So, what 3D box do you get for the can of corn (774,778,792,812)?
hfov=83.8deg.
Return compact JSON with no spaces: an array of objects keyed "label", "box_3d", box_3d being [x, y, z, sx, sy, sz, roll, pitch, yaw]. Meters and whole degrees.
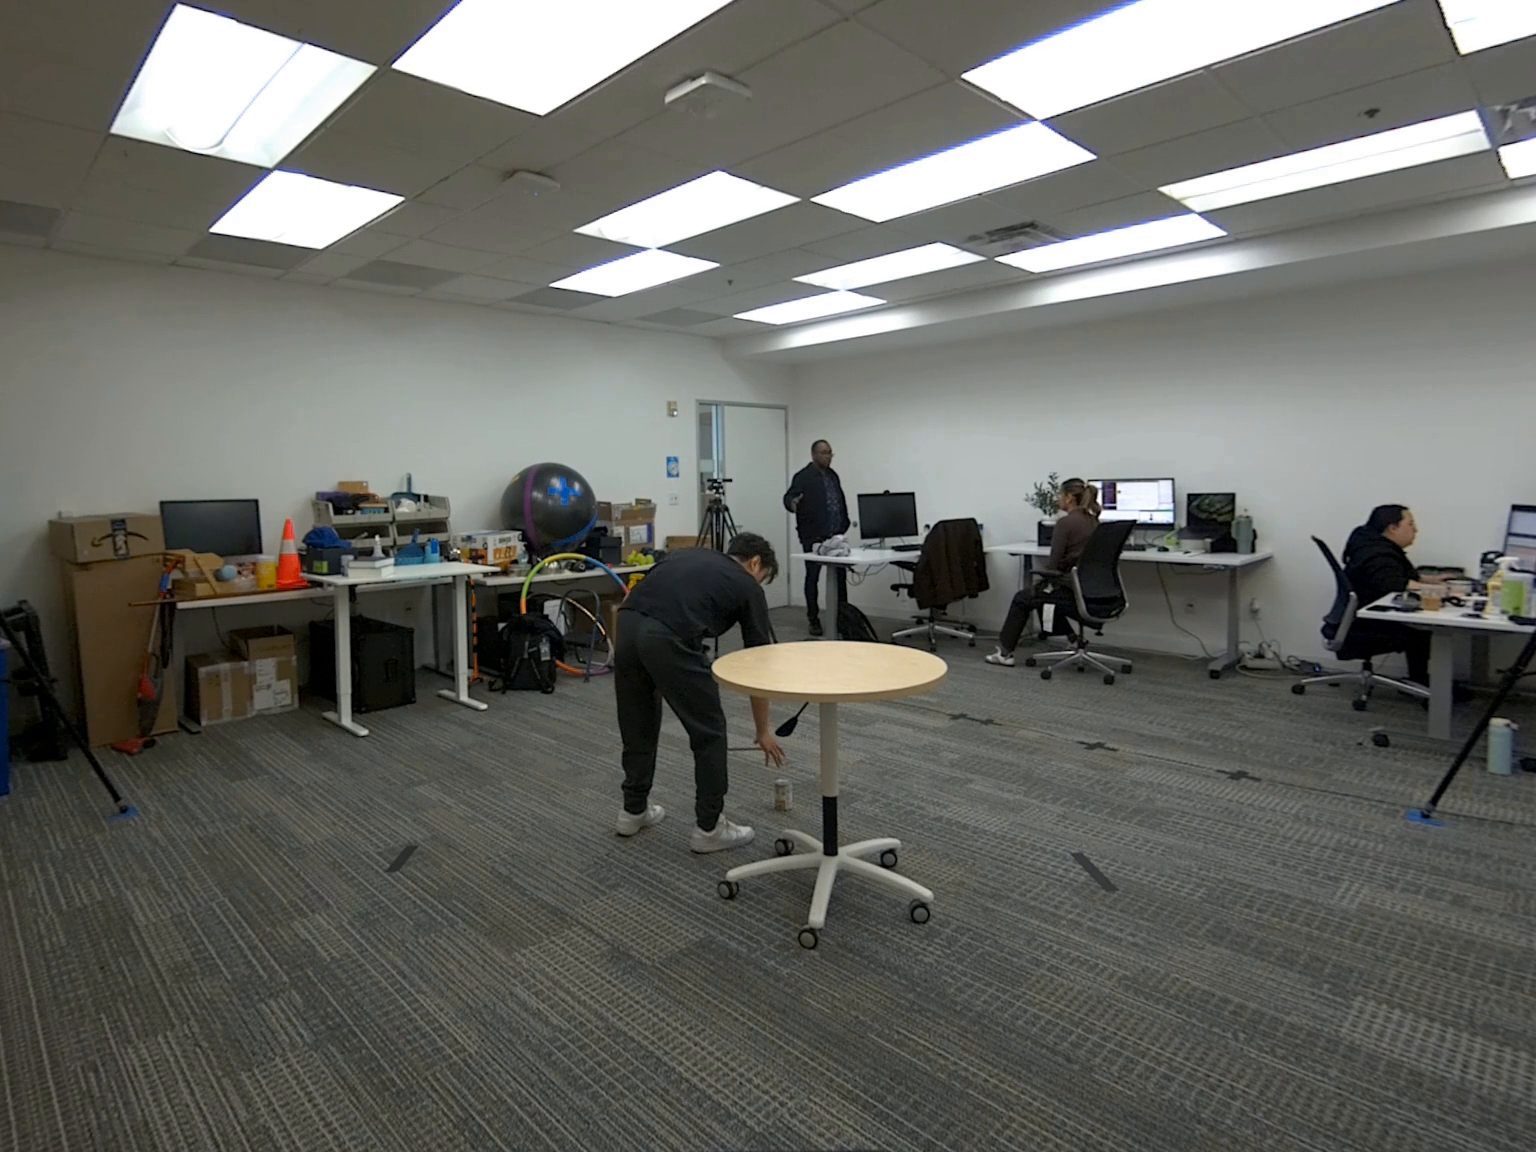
[{"label":"can of corn","box_3d":[0.065,0.933,3.627,0.074,0.110,0.074,0,4,-2]}]
